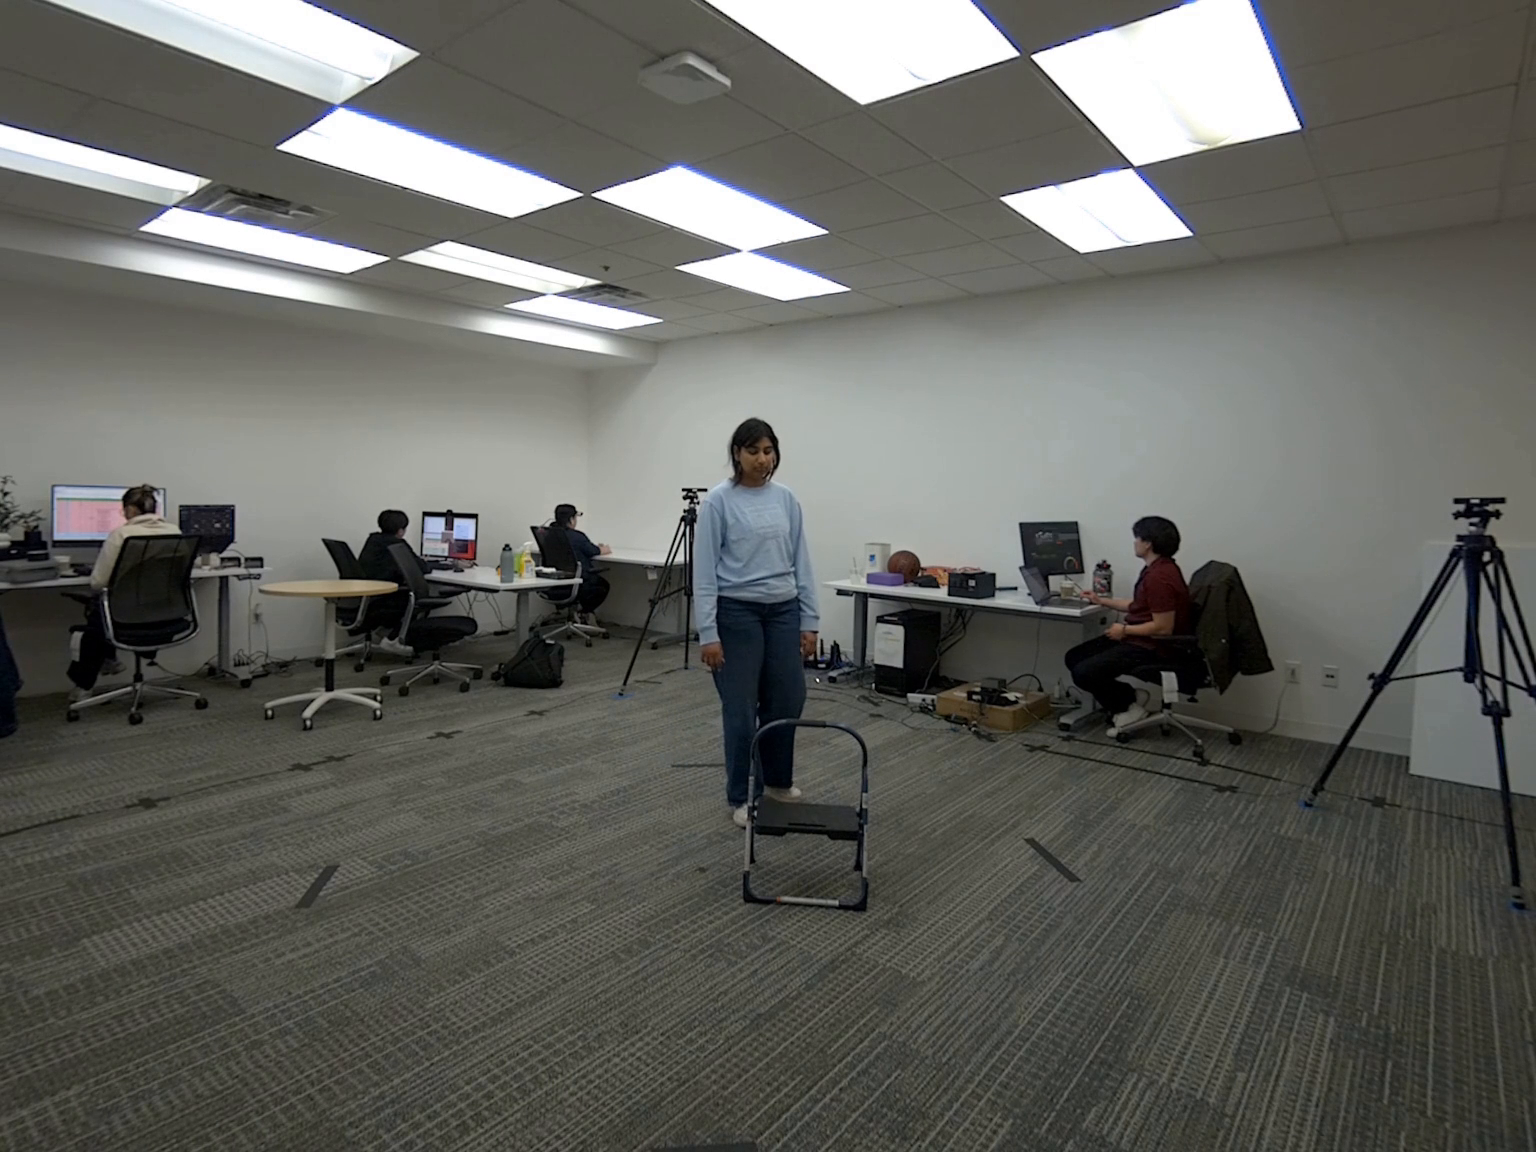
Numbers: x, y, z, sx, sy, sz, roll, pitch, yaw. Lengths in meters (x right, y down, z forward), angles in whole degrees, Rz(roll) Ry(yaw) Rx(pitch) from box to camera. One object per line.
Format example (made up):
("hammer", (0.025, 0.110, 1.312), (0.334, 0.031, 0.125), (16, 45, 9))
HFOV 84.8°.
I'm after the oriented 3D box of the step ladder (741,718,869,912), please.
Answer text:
("step ladder", (0.132, 0.786, 2.994), (0.433, 0.604, 0.348), (1, 3, 5))
